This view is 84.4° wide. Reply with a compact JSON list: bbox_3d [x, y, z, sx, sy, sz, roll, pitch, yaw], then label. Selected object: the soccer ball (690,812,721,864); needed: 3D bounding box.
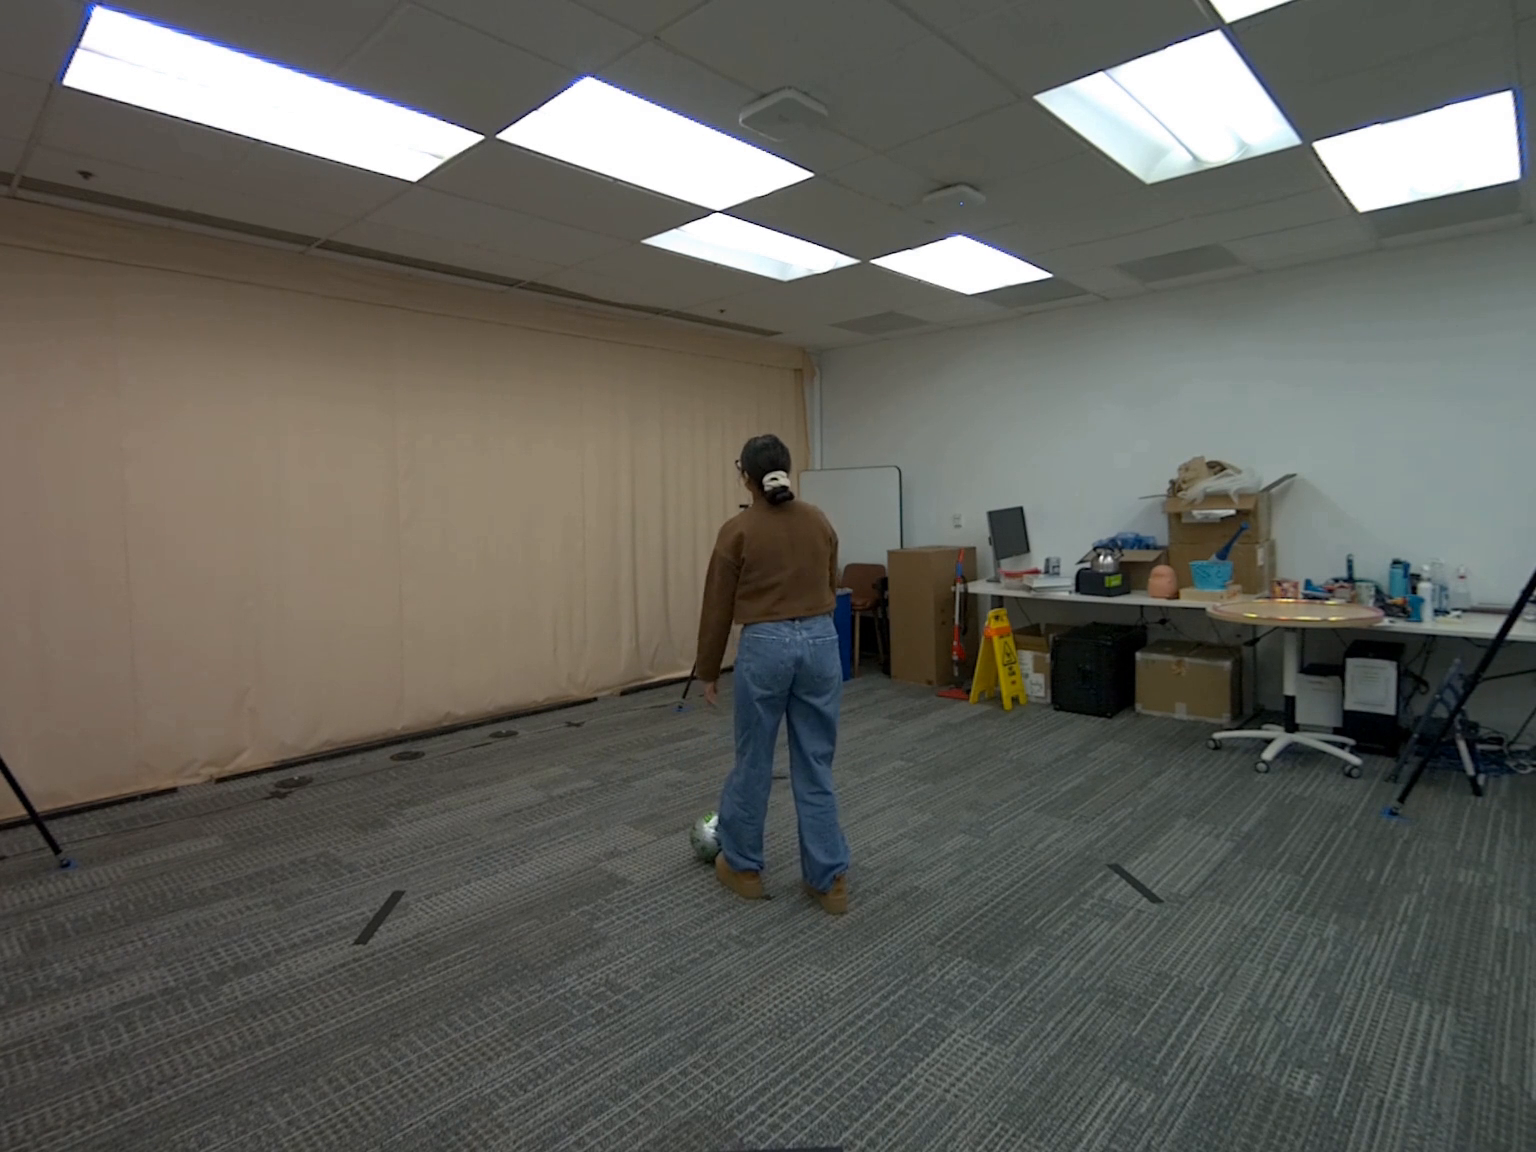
[{"bbox_3d":[-0.213,1.021,3.303,0.187,0.187,0.188,-1,4,-2],"label":"soccer ball"}]
